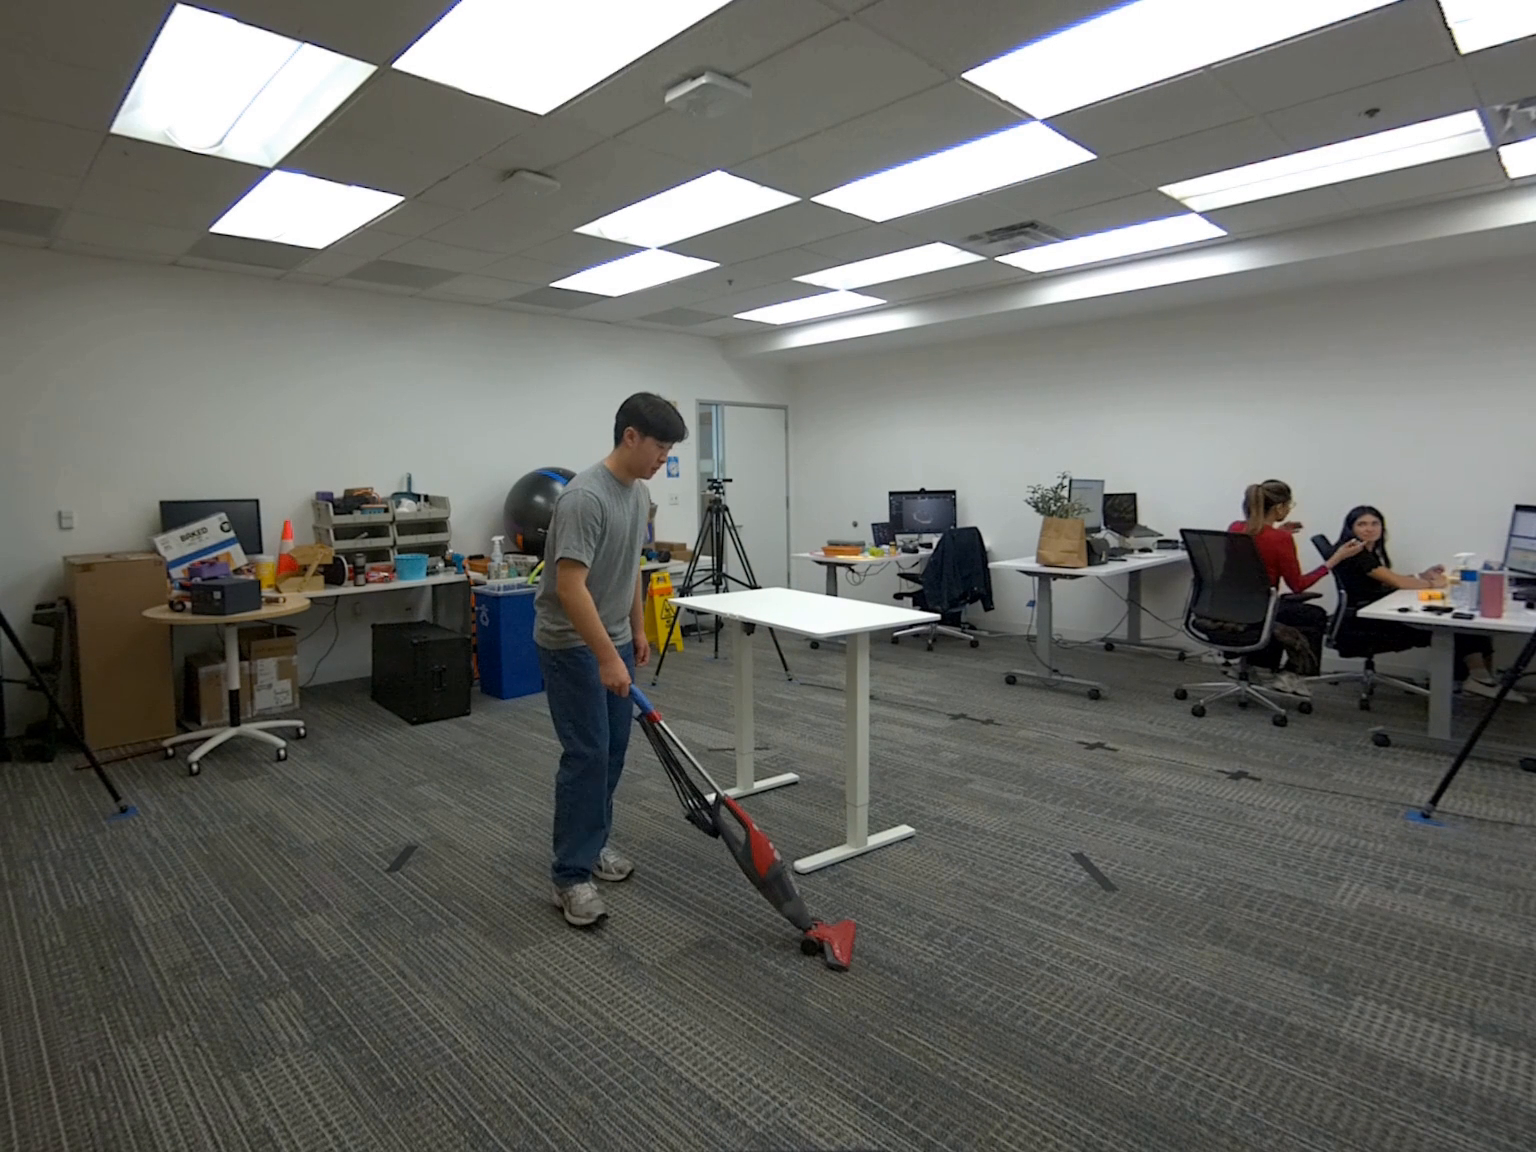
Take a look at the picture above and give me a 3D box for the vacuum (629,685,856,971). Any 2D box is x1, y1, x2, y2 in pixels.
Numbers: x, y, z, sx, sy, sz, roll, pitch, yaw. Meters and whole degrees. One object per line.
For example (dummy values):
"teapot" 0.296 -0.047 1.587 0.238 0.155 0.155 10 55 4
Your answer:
"vacuum" -0.161 0.708 2.616 0.144 1.060 0.250 -44 -7 13
